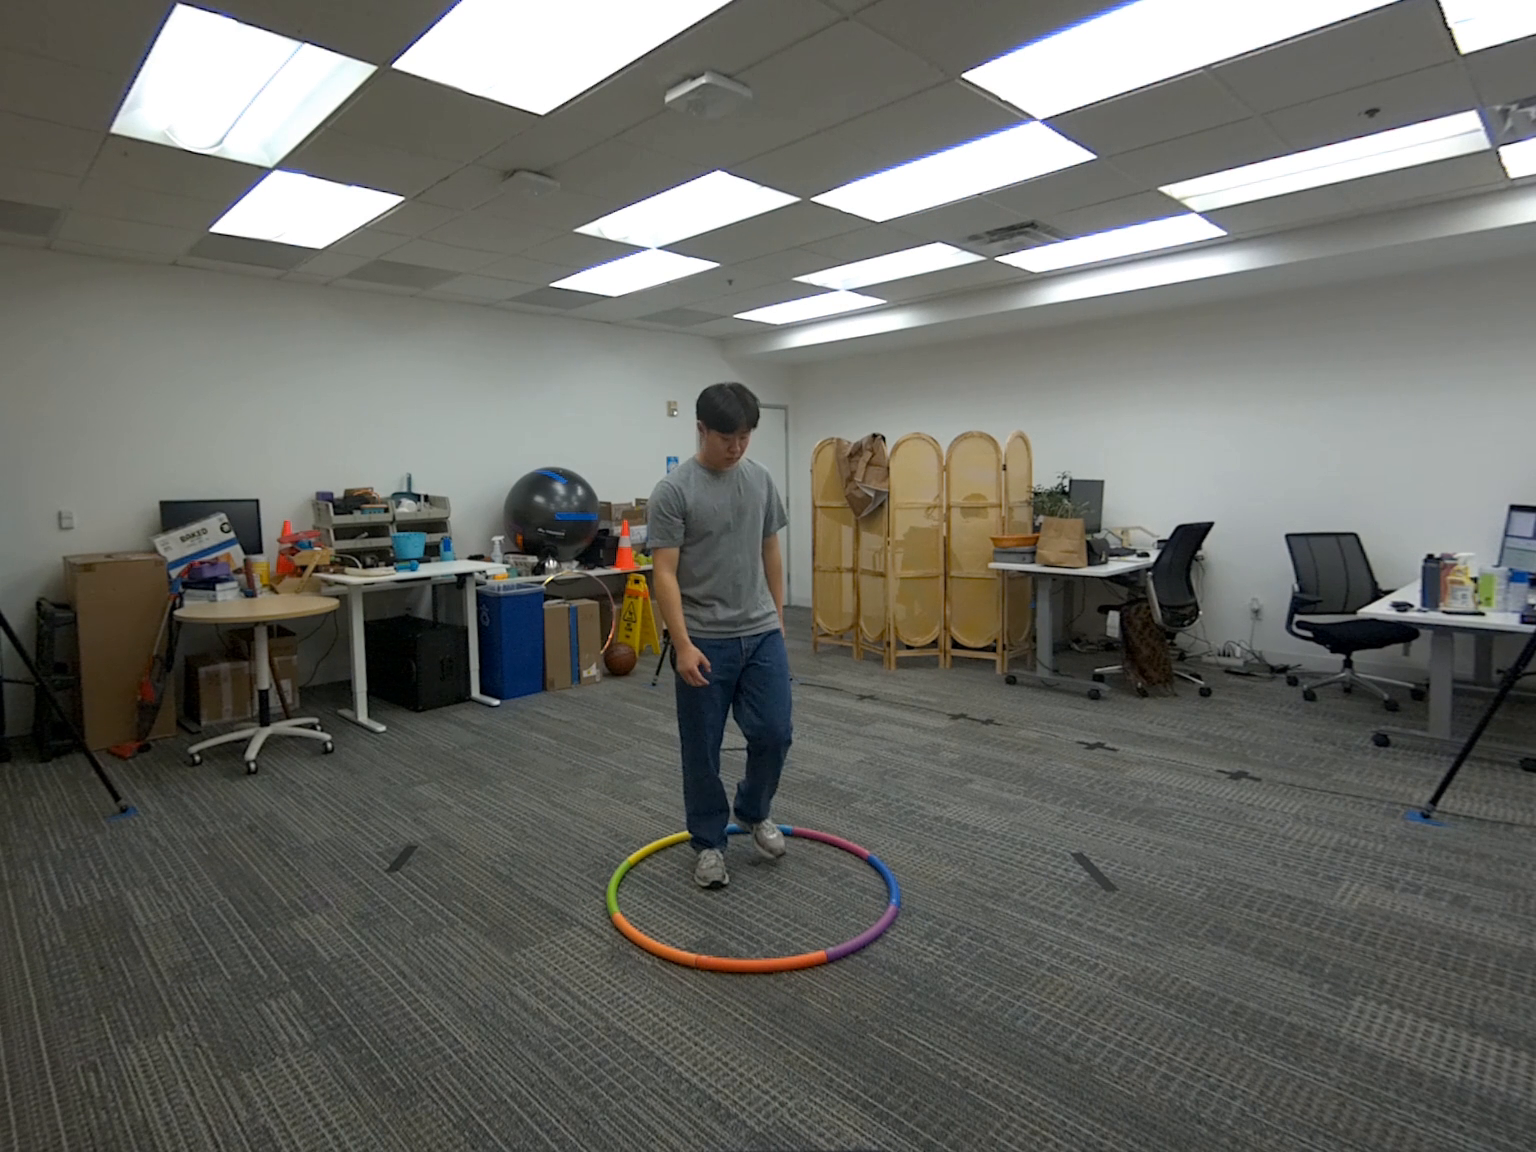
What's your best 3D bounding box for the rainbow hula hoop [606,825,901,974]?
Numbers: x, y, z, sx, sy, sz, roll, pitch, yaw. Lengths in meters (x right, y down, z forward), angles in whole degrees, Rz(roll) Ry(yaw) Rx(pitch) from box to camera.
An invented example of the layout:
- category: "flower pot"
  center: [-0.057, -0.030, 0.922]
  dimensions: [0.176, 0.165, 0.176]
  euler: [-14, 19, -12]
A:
- category: "rainbow hula hoop"
  center: [-0.055, 1.038, 2.900]
  dimensions: [0.978, 0.035, 0.984]
  euler: [-1, 7, -2]
